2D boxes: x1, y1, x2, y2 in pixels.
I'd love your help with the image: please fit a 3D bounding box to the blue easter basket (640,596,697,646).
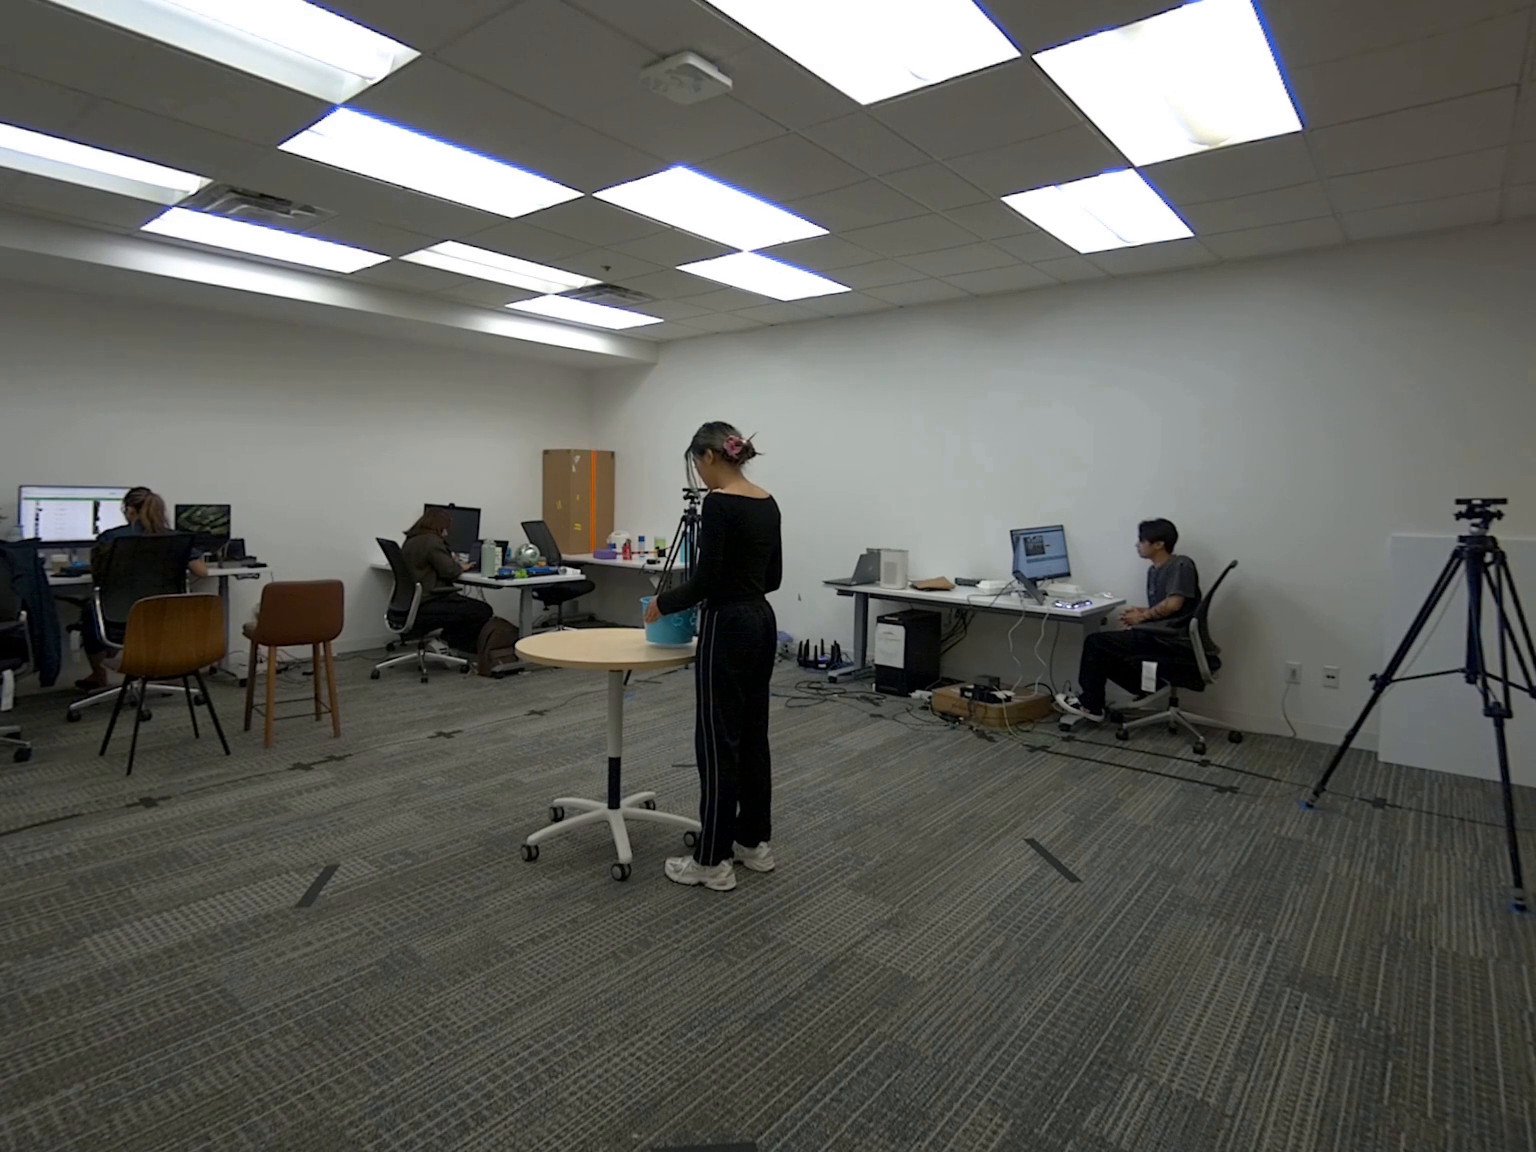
[{"bbox_3d":[-0.373,0.171,3.252,0.243,0.155,0.245,3,6,-2],"label":"blue easter basket"}]
